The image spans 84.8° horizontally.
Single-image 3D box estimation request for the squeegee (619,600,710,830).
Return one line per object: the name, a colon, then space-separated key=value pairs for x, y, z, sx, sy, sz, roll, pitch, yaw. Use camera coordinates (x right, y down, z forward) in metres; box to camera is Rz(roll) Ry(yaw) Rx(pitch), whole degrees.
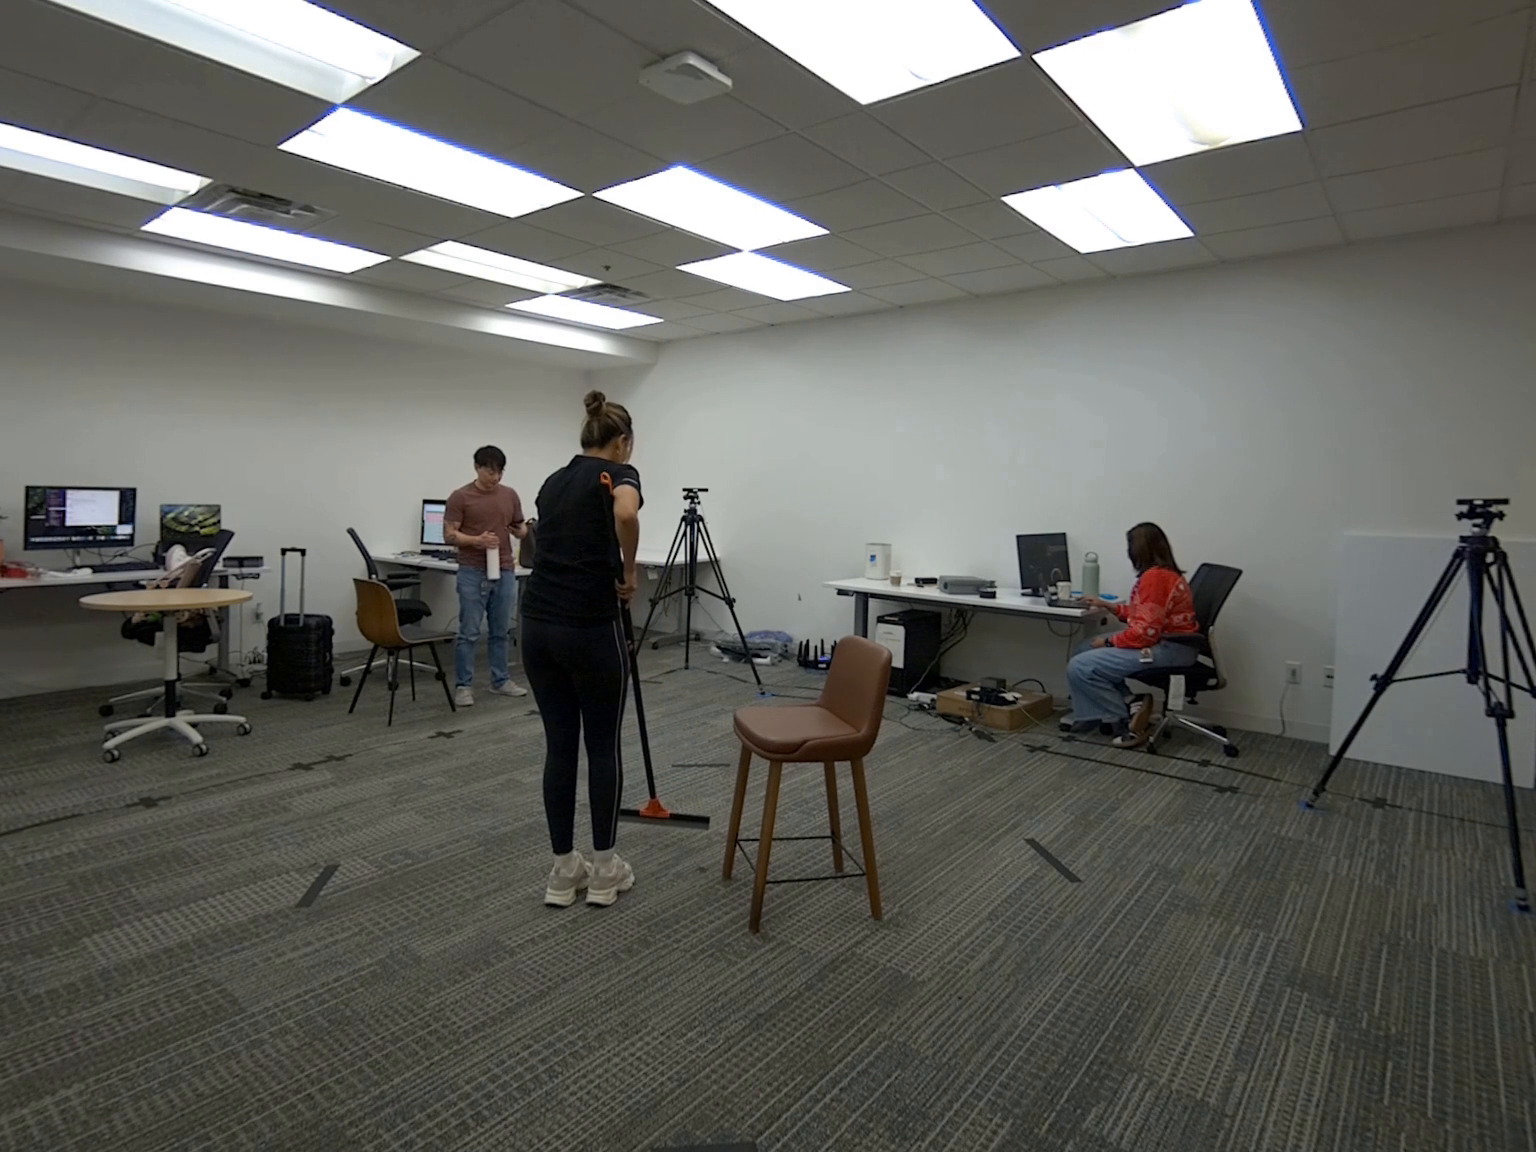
squeegee: x=-0.479 y=0.334 z=3.000 sx=0.442 sy=1.496 sz=0.054 roll=5 pitch=33 yaw=9
